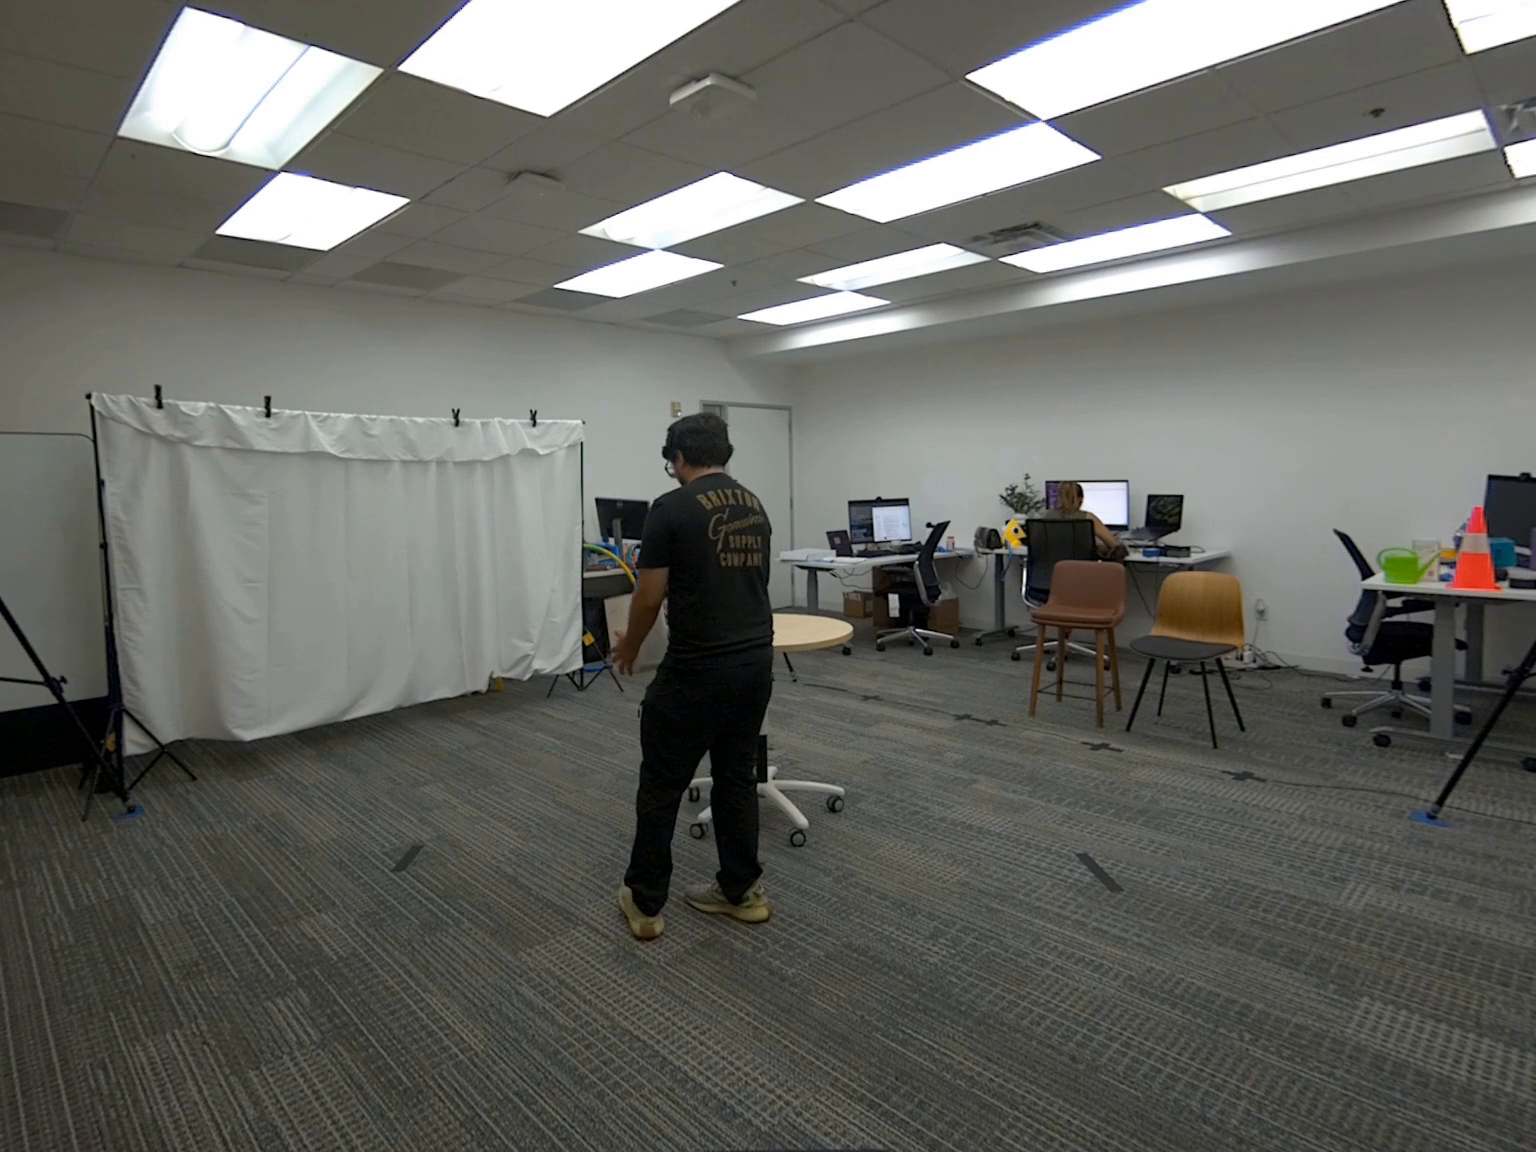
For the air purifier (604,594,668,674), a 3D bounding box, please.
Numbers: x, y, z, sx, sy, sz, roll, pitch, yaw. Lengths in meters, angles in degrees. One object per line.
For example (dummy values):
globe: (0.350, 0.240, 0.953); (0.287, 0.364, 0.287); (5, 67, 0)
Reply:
air purifier: (-0.440, 0.195, 2.935); (0.167, 0.267, 0.175); (-4, -7, -44)
